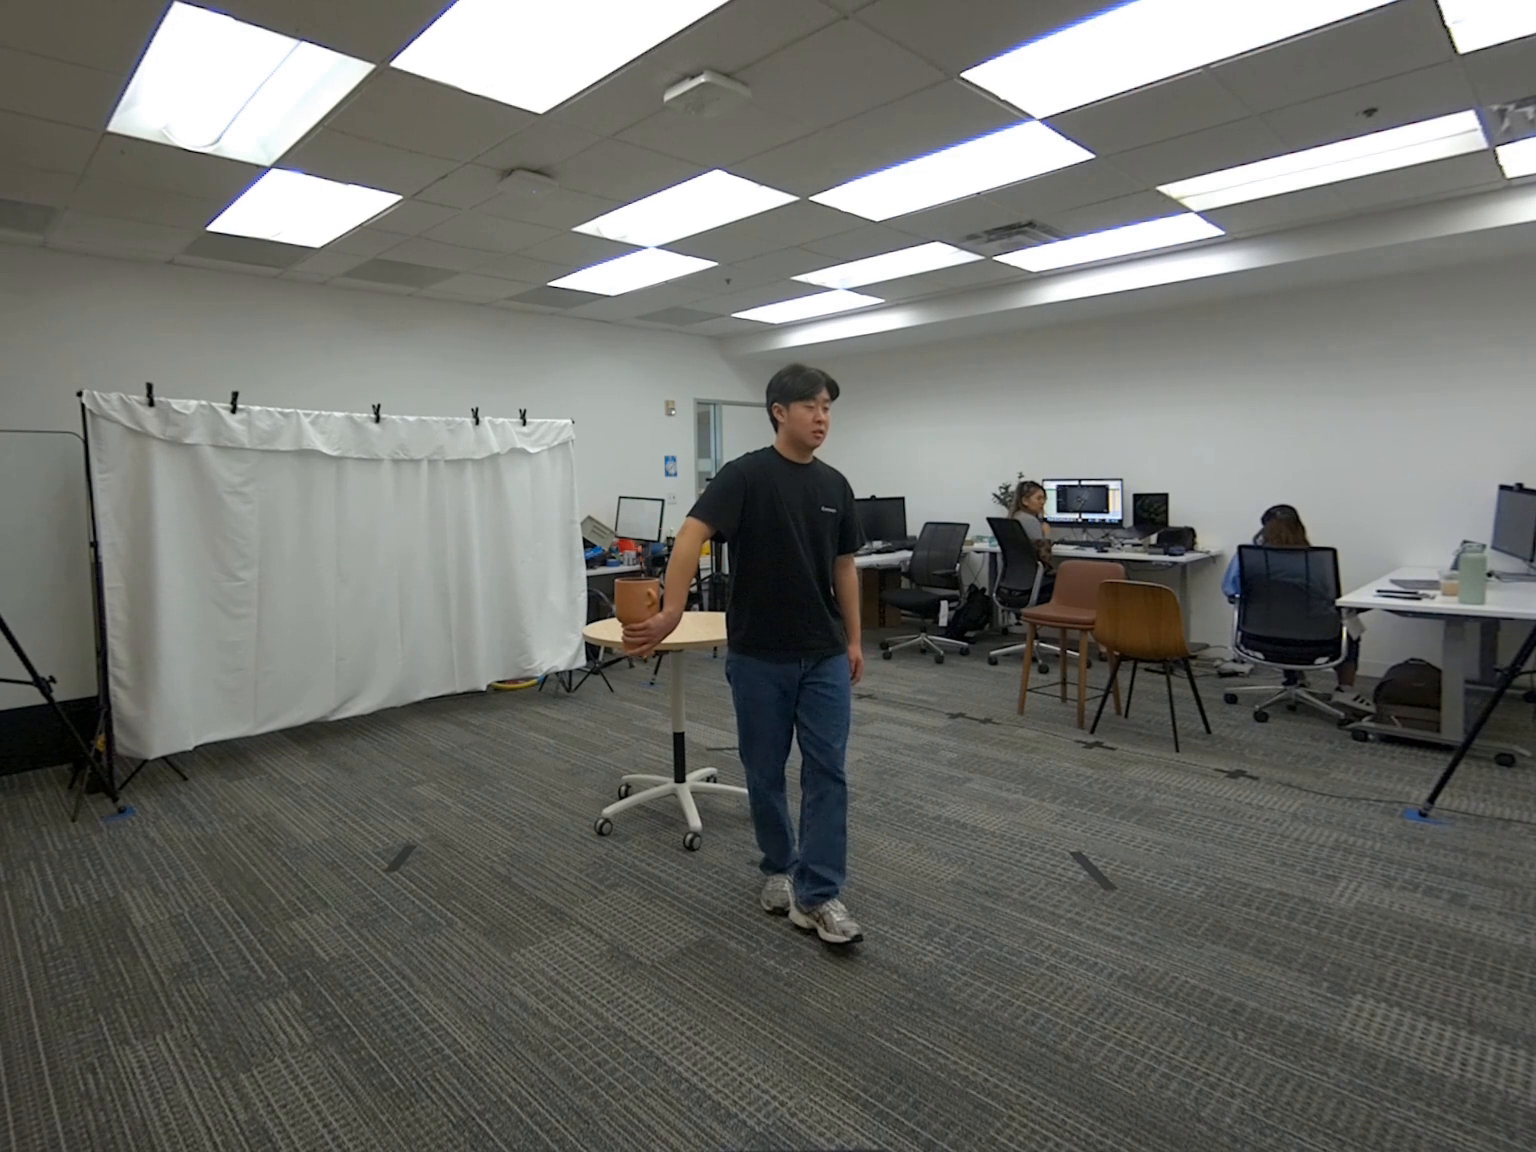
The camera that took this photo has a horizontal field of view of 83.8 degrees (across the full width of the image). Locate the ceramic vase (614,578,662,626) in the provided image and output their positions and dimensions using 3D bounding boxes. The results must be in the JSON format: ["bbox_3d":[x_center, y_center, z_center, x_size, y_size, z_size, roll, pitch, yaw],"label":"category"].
[{"bbox_3d":[-0.373,0.117,2.525,0.134,0.219,0.159,0,4,-1],"label":"ceramic vase"}]
